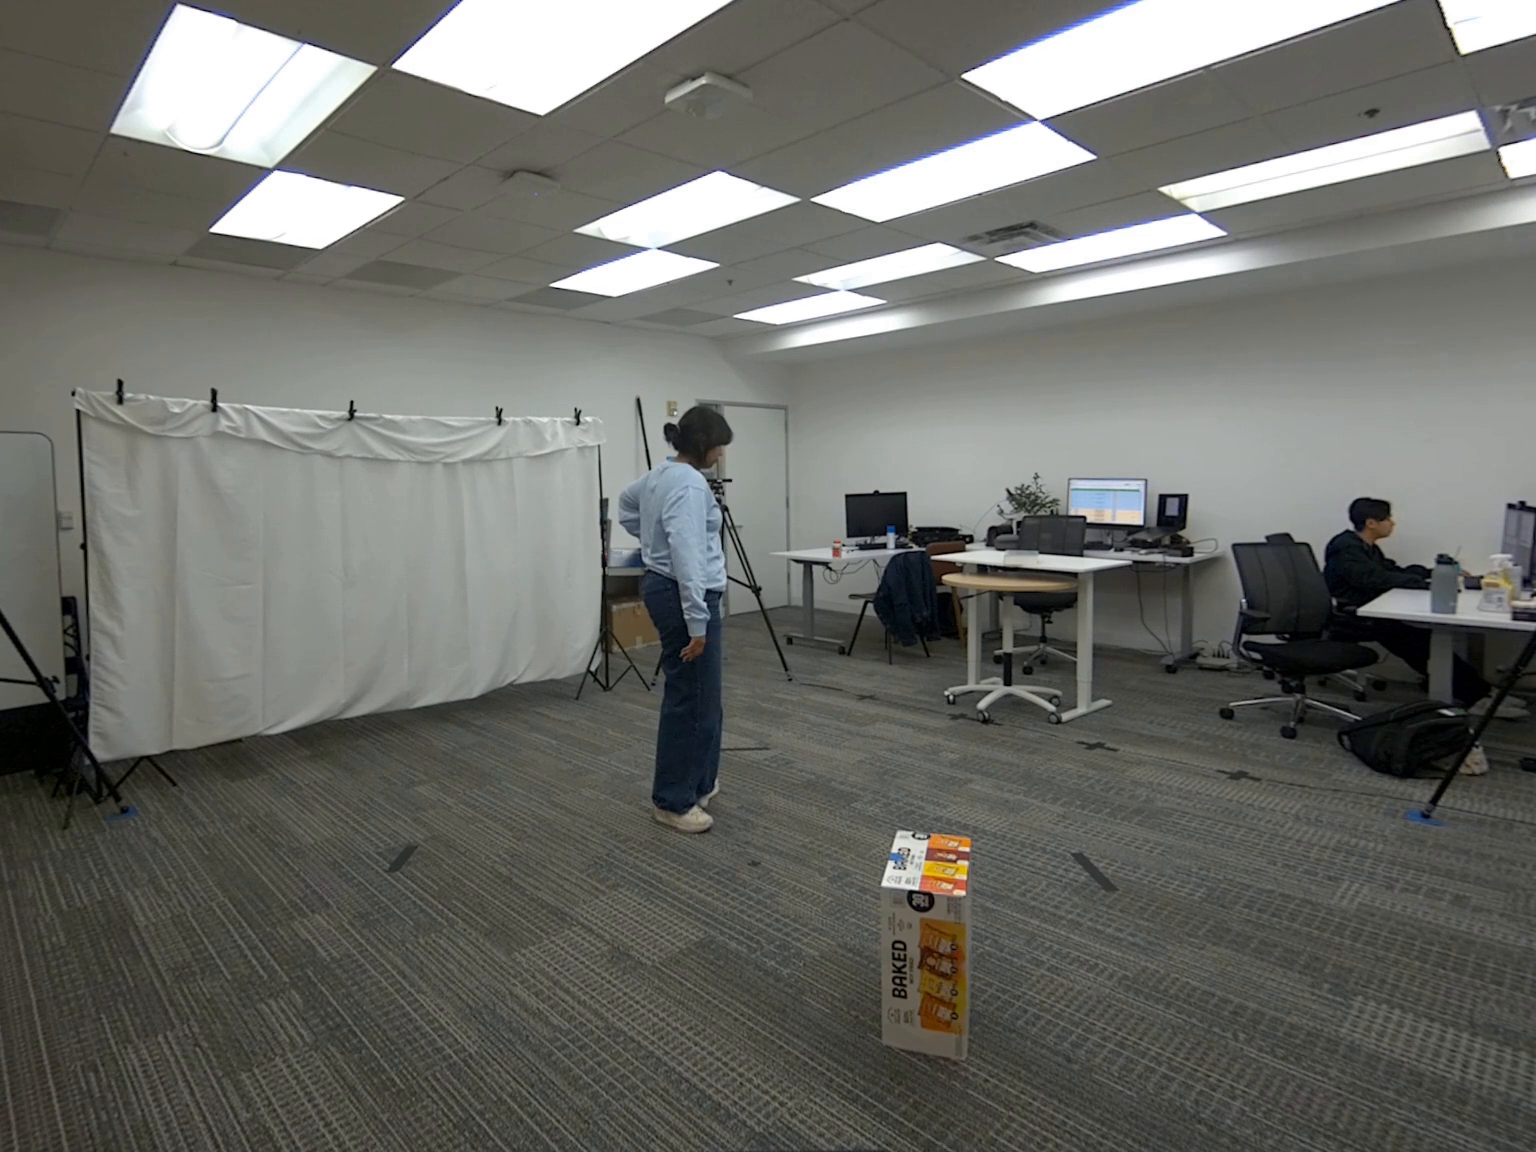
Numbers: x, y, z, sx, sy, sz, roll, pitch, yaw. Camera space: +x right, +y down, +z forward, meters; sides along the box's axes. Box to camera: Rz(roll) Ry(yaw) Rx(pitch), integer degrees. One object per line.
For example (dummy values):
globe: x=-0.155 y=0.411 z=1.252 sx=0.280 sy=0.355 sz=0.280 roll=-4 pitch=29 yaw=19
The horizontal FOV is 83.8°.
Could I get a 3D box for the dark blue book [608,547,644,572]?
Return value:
dark blue book: x=-0.618 y=-0.068 z=3.740 sx=0.163 sy=0.044 sz=0.249 roll=0 pitch=19 yaw=-2
